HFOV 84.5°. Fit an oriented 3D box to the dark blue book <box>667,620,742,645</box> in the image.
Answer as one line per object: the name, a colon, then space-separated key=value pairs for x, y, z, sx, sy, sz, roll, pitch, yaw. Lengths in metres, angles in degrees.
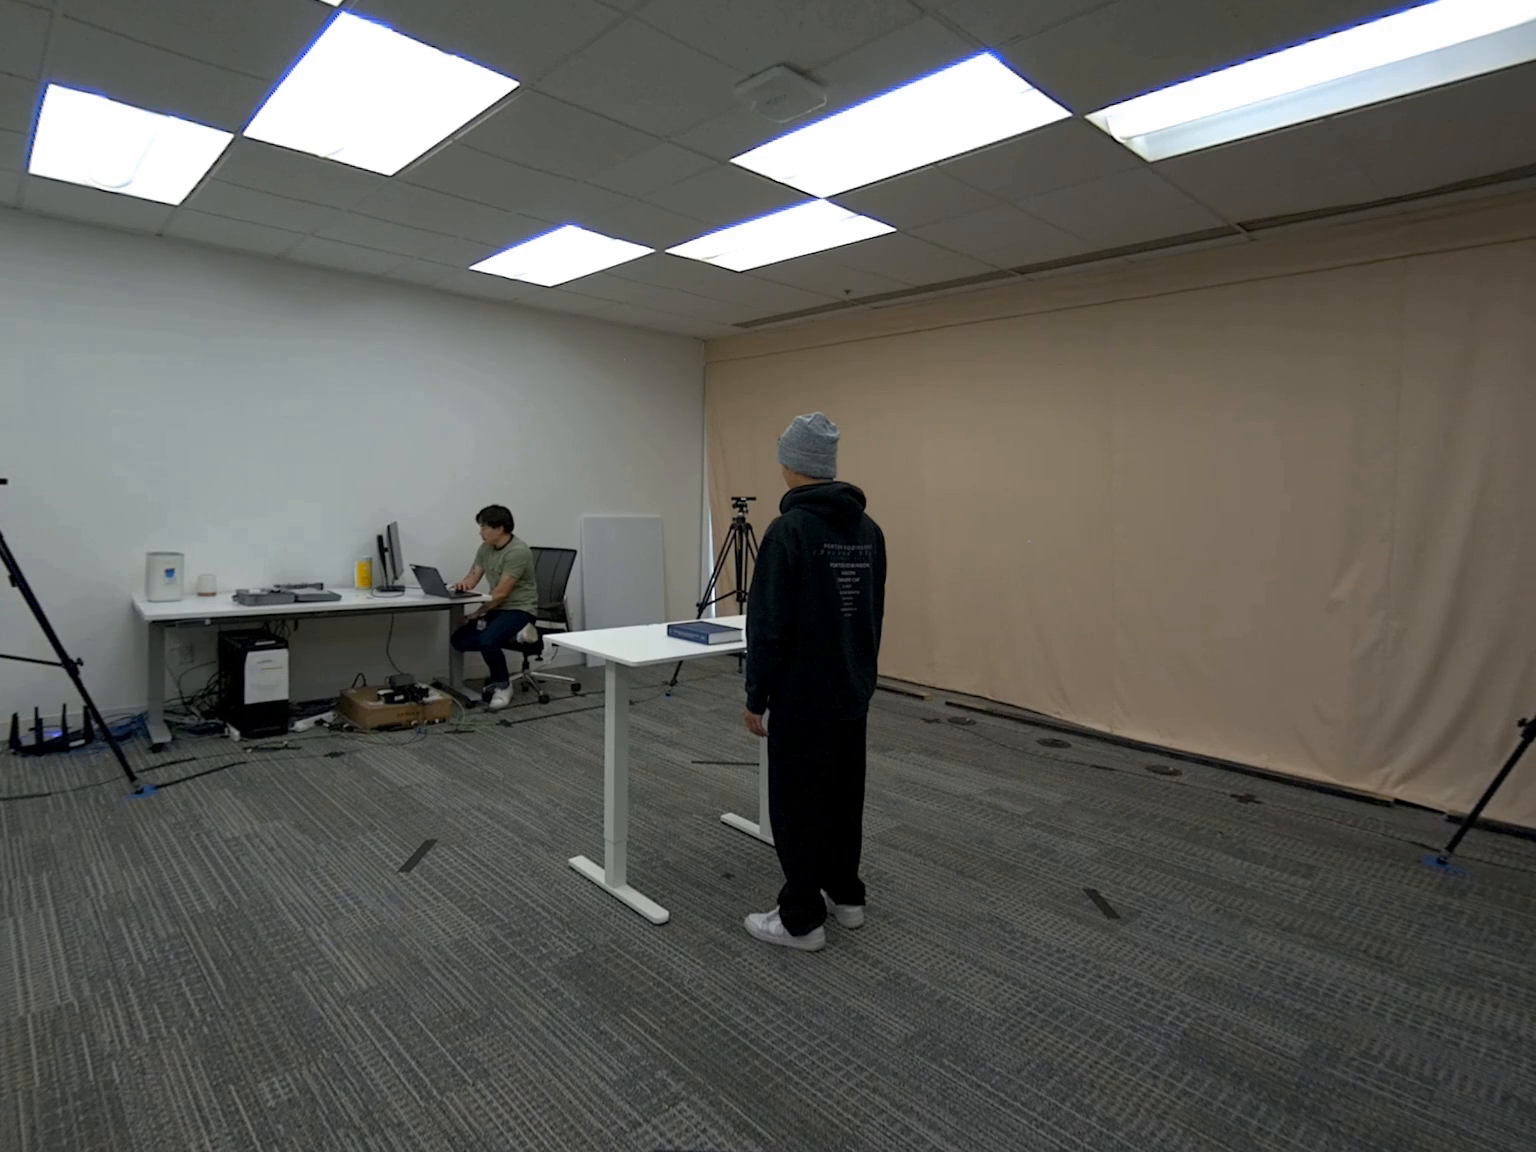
dark blue book: x=-0.243 y=0.210 z=3.056 sx=0.160 sy=0.045 sz=0.251 roll=-4 pitch=7 yaw=-41
